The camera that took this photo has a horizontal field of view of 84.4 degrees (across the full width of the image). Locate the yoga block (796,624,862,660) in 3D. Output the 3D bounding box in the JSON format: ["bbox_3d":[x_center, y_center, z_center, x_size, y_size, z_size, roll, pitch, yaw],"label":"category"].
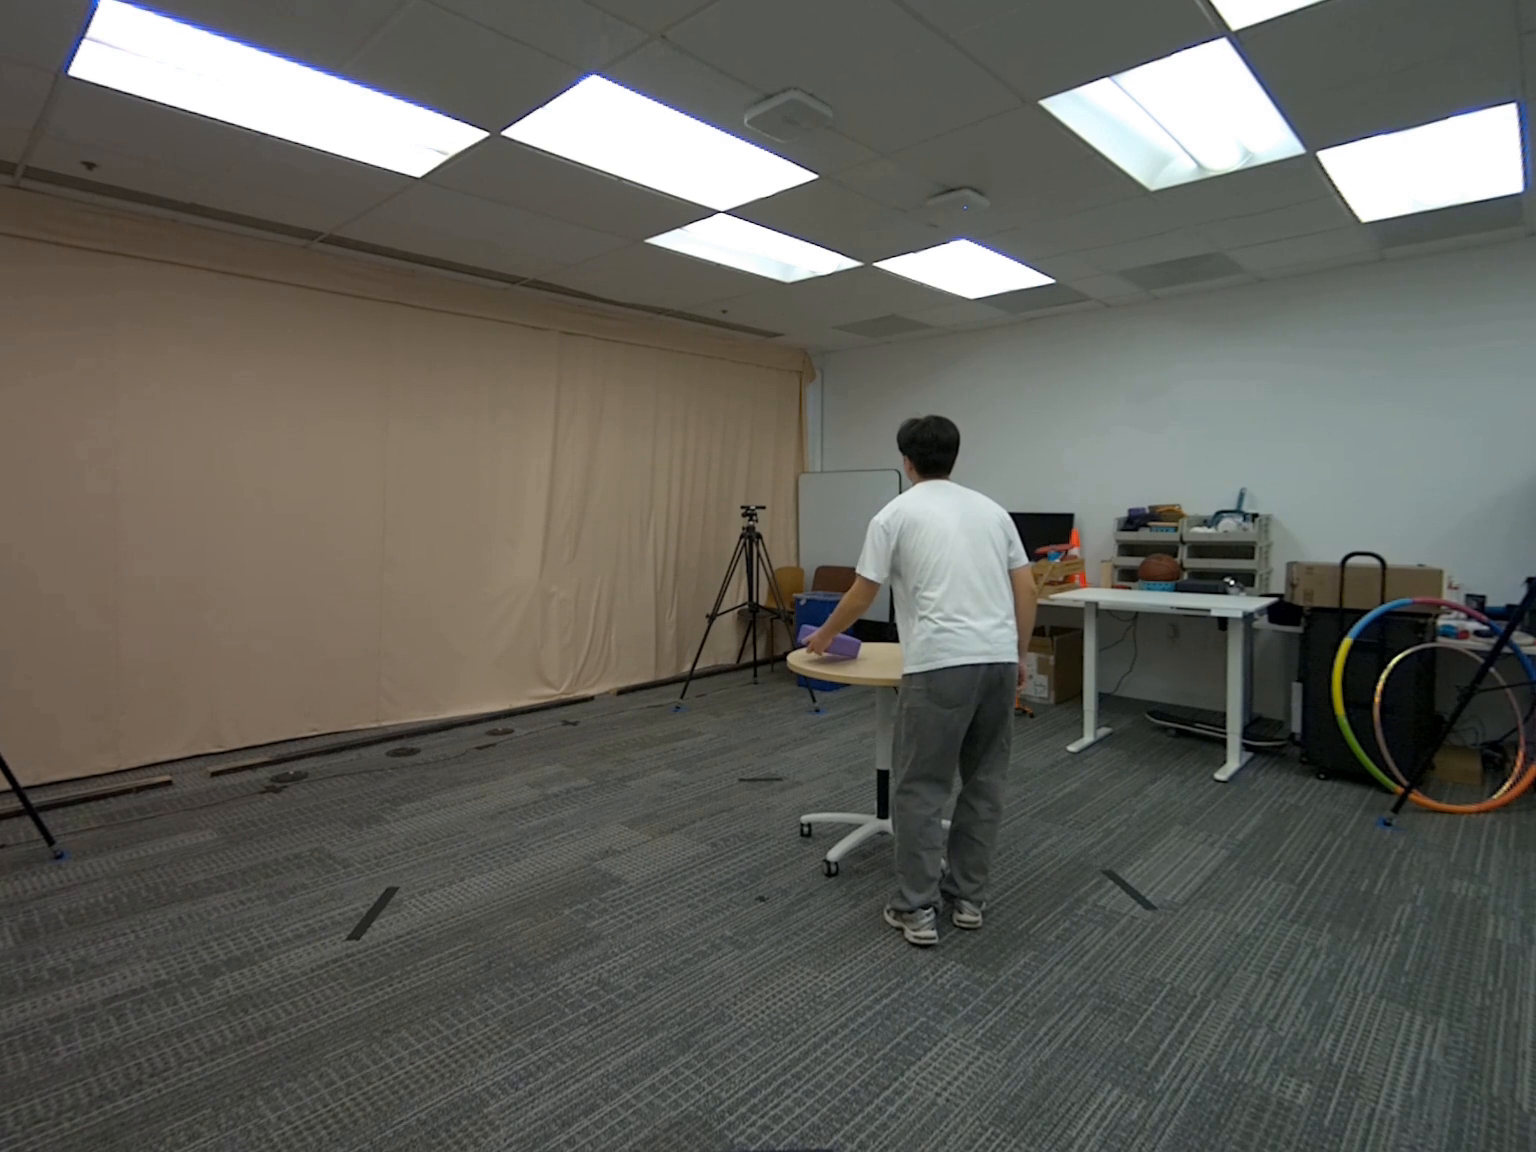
[{"bbox_3d":[0.258,0.253,3.303,0.154,0.076,0.221,19,6,39],"label":"yoga block"}]
